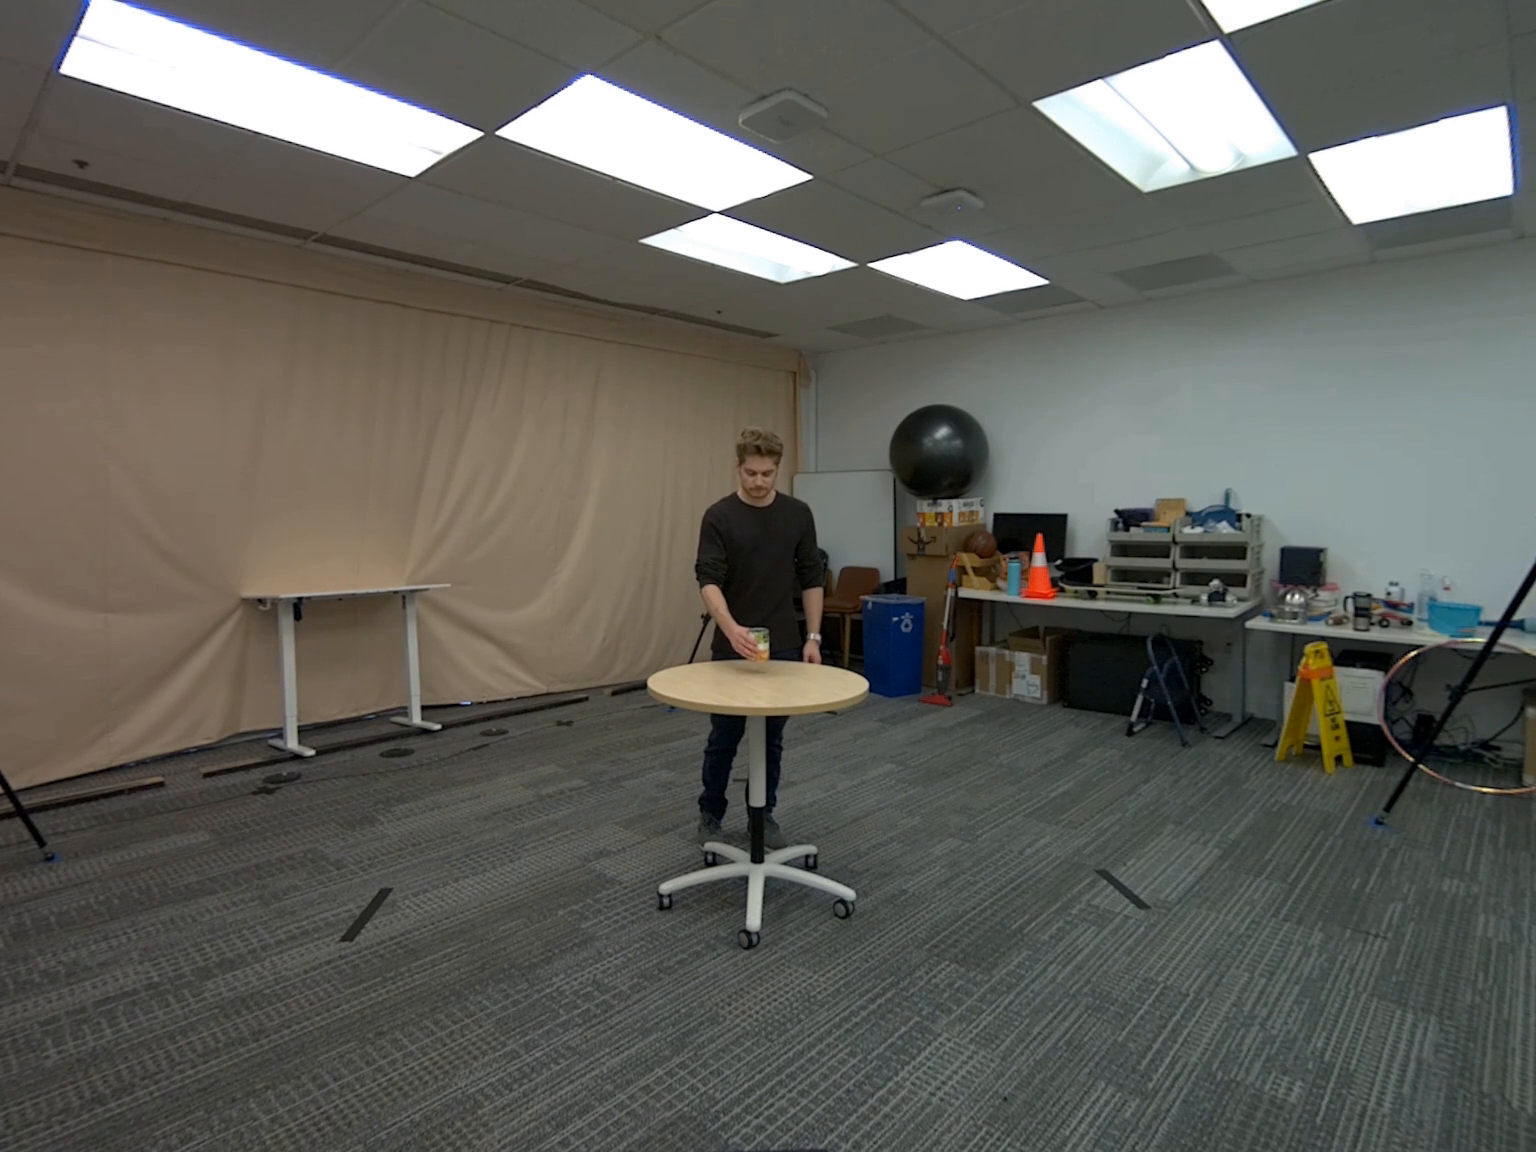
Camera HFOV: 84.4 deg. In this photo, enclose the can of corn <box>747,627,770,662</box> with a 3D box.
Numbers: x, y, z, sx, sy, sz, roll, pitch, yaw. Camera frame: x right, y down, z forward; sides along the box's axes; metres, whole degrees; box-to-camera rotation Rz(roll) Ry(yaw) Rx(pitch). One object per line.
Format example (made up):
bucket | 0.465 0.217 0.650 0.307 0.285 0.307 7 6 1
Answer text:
can of corn | -0.035 0.252 3.036 0.074 0.111 0.074 -4 2 -2
